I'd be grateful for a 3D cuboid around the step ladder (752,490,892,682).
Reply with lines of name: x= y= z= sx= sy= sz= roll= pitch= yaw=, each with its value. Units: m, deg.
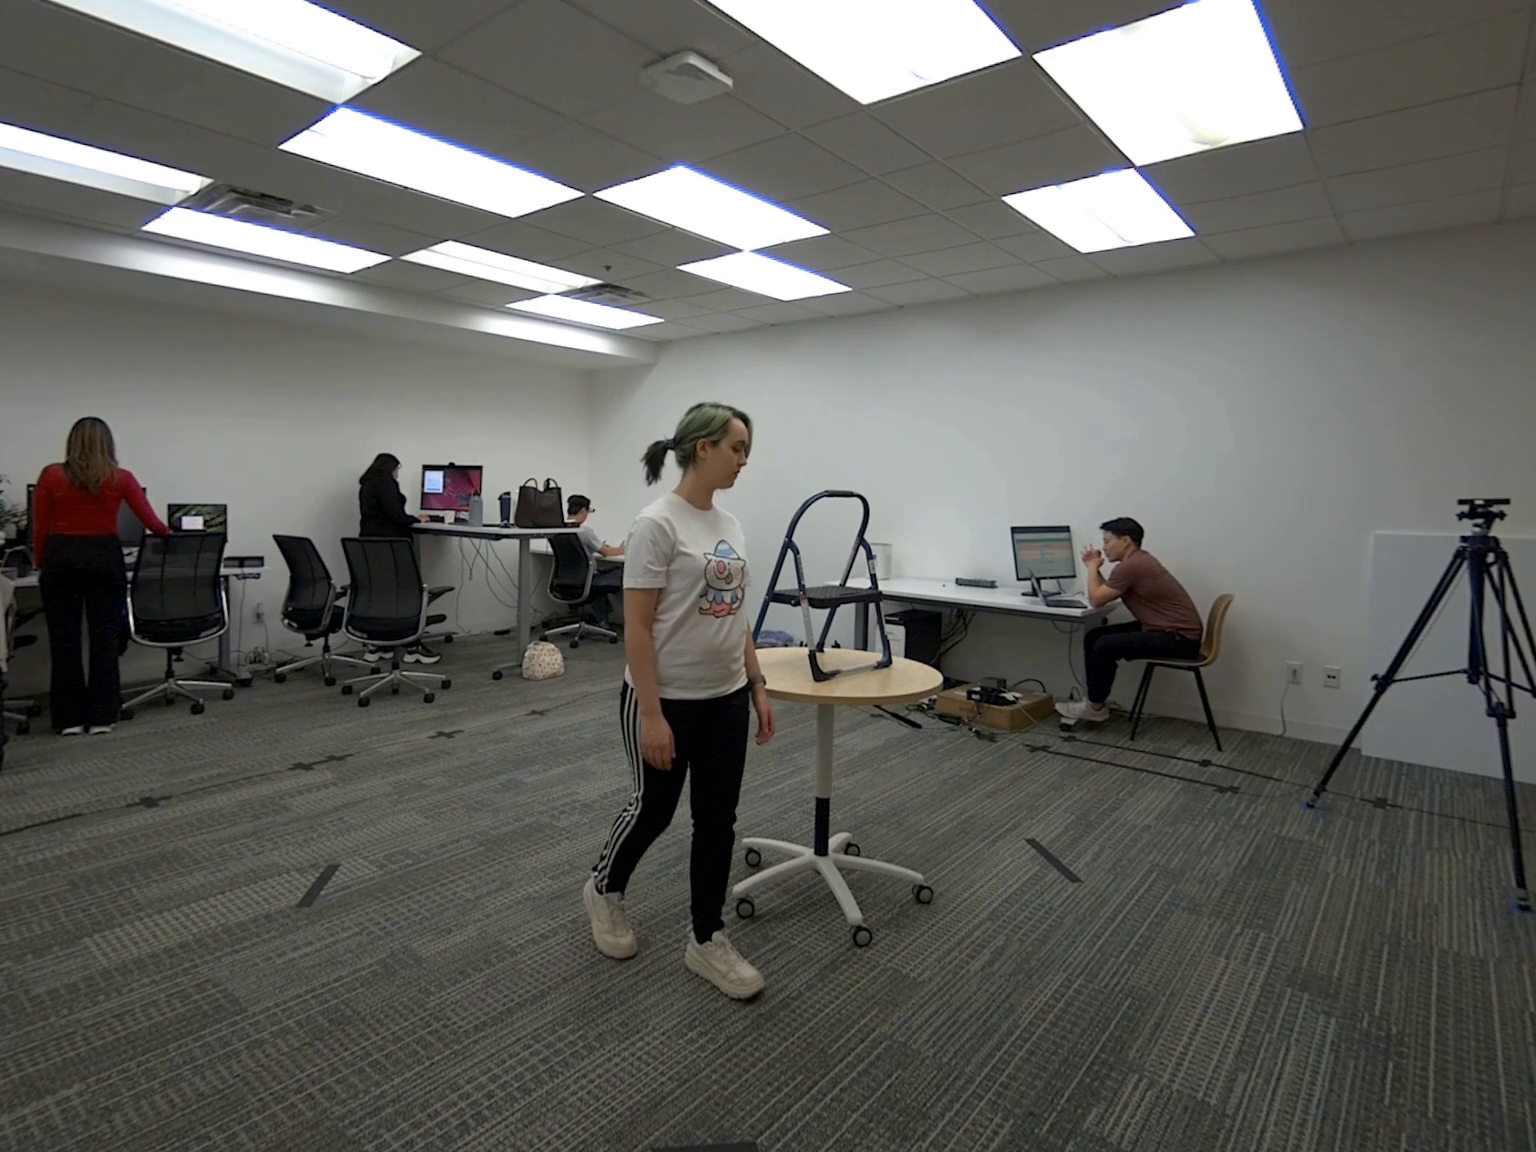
step ladder: x=0.178 y=0.008 z=2.938 sx=0.361 sy=0.604 sz=0.417 roll=5 pitch=5 yaw=44
